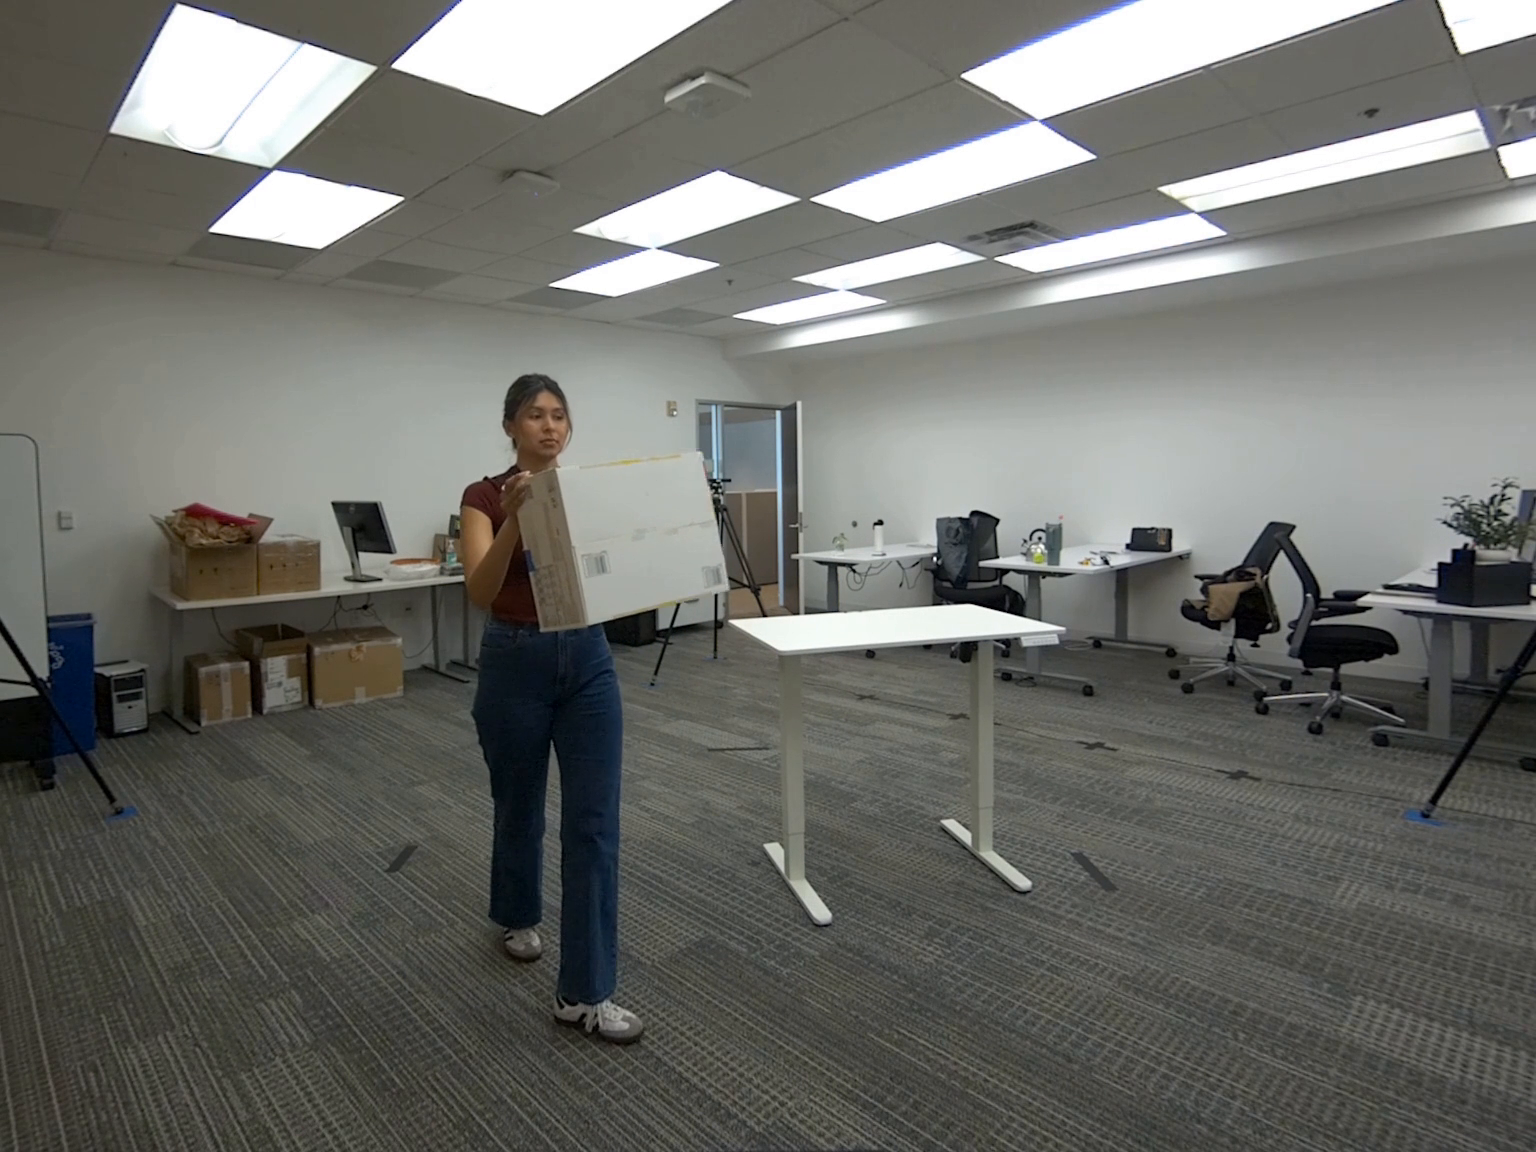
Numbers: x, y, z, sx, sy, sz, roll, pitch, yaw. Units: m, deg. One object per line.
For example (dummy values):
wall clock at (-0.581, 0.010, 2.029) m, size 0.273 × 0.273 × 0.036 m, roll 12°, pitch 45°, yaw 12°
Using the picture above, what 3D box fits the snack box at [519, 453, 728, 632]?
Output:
snack box at (-0.324, -0.088, 1.961) m, size 0.396 × 0.340 × 0.210 m, roll -13°, pitch 2°, yaw -42°
